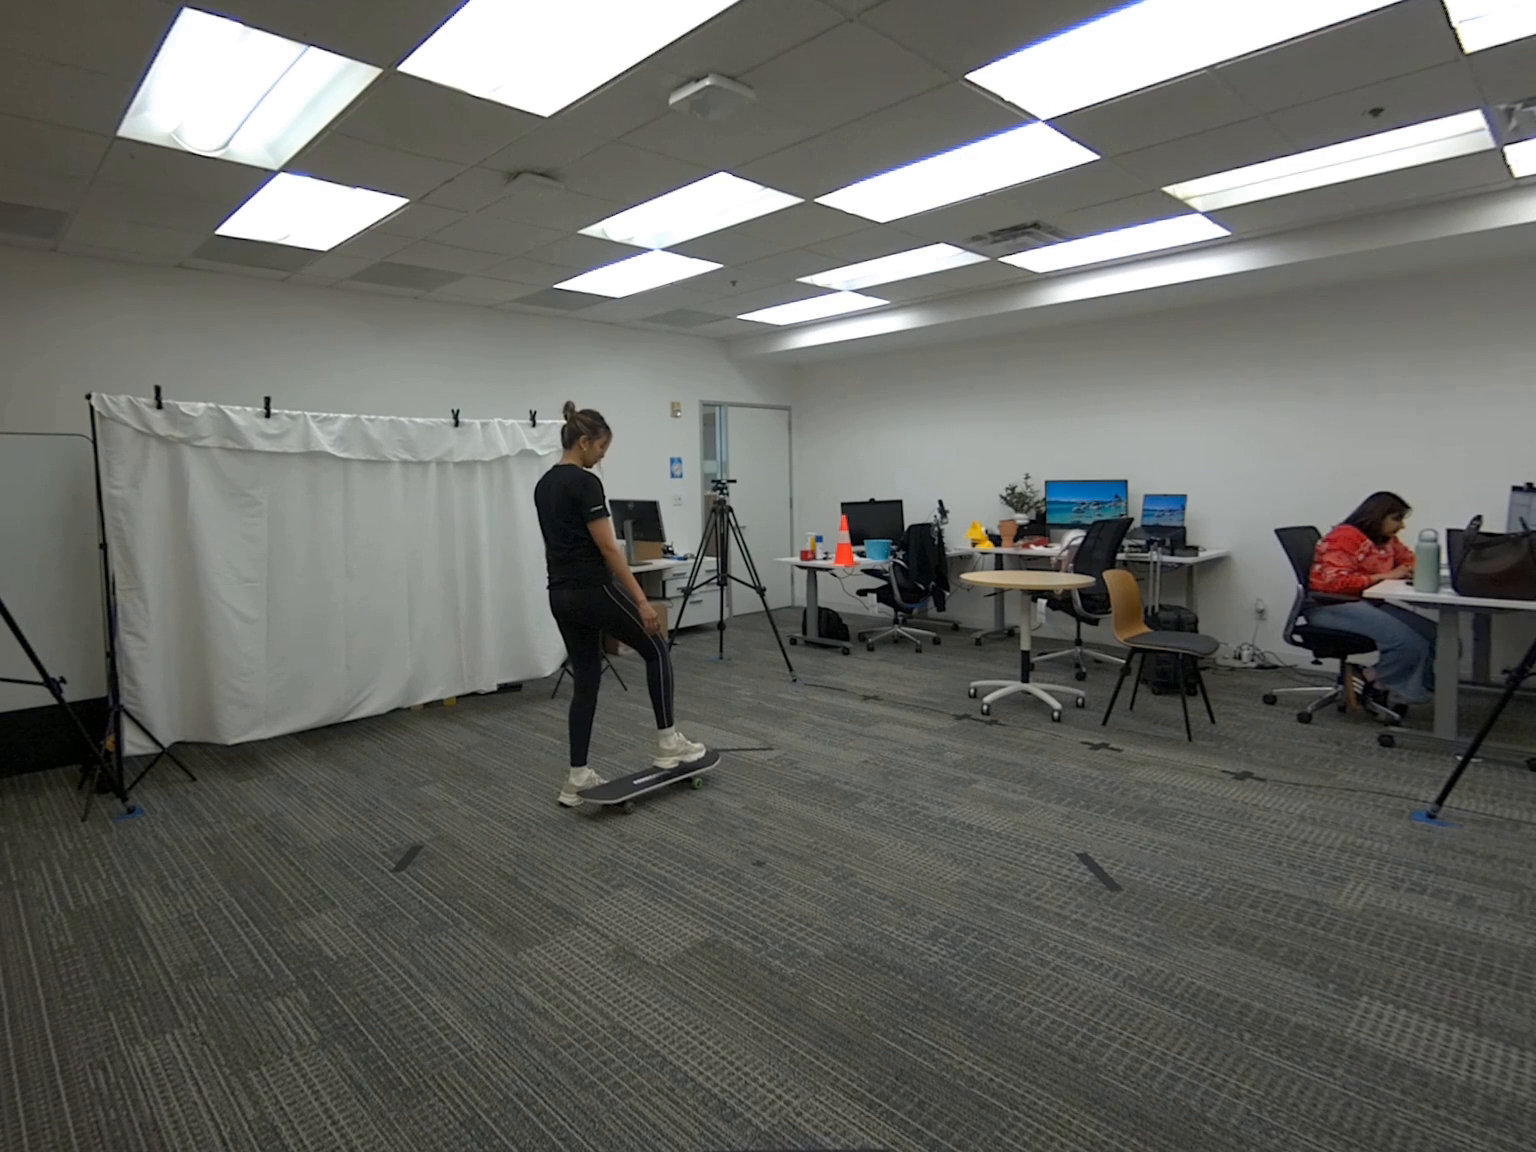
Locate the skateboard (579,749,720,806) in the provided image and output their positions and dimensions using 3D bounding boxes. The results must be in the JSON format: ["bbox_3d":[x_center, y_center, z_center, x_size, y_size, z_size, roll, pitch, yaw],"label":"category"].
[{"bbox_3d":[-0.513,0.922,3.799,0.199,0.110,0.765,3,8,43],"label":"skateboard"}]
